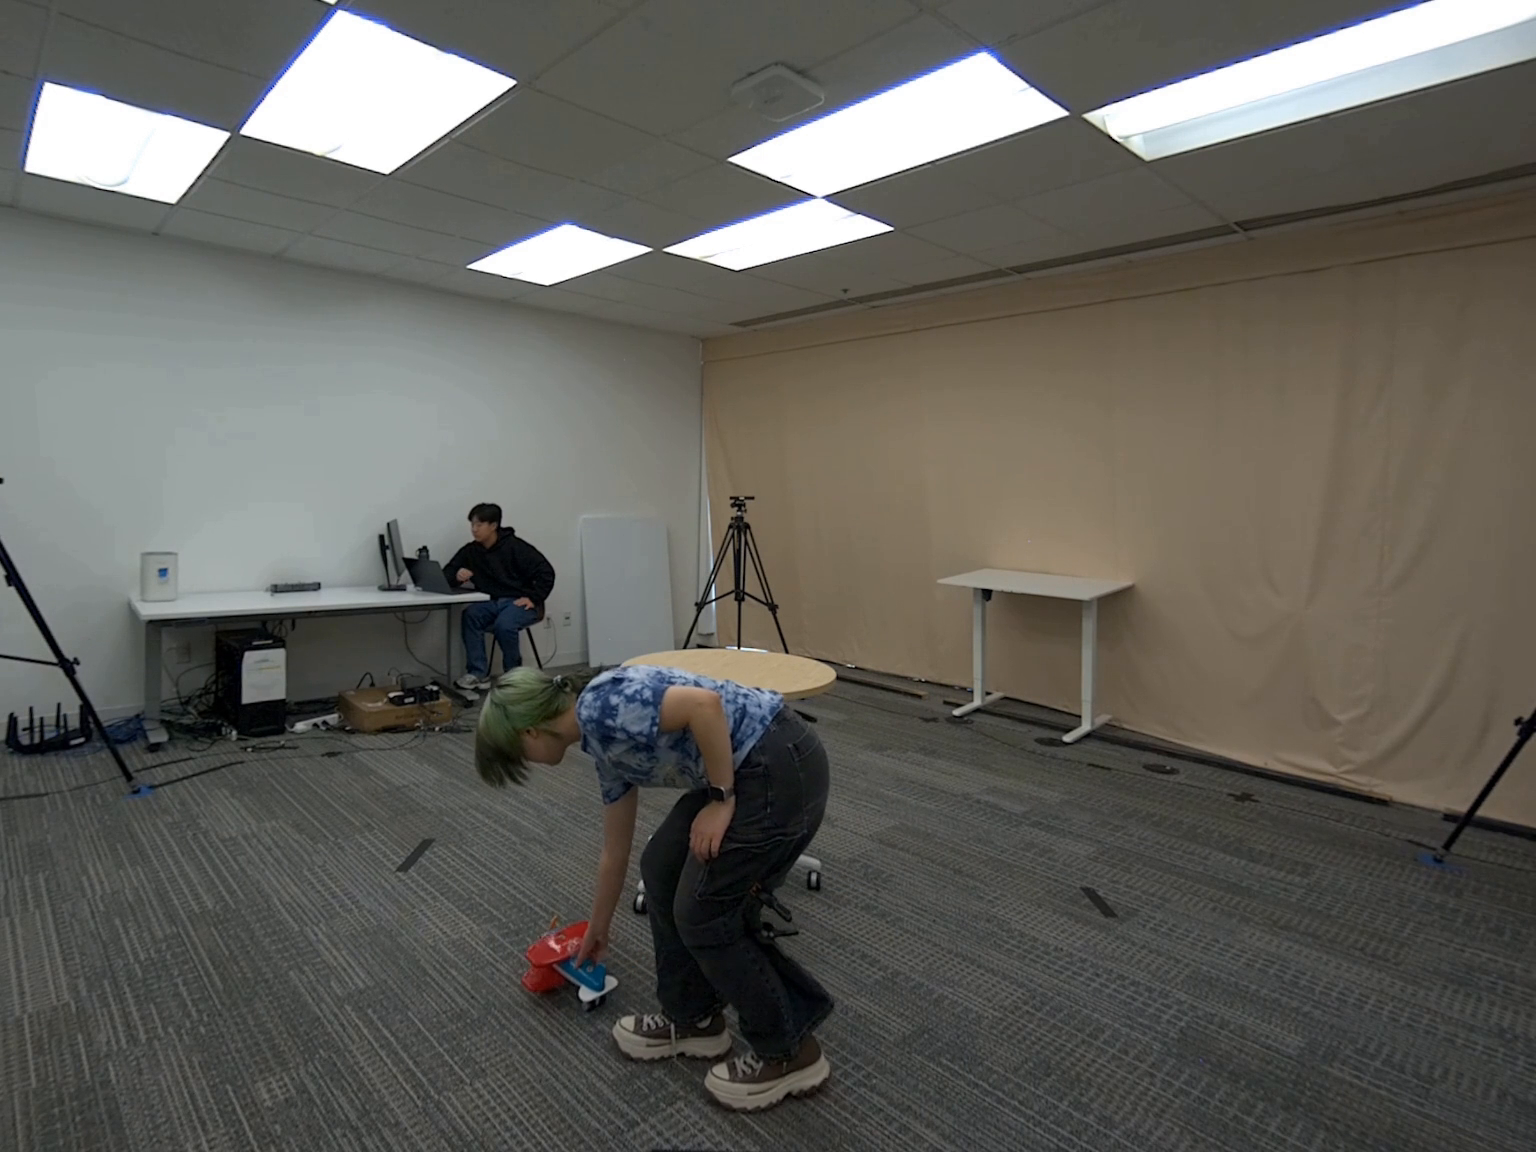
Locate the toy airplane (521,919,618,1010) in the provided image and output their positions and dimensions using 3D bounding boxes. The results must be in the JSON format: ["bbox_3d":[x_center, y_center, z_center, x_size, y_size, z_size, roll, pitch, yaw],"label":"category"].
[{"bbox_3d":[-0.539,1.094,2.353,0.261,0.156,0.250,1,6,9],"label":"toy airplane"}]
